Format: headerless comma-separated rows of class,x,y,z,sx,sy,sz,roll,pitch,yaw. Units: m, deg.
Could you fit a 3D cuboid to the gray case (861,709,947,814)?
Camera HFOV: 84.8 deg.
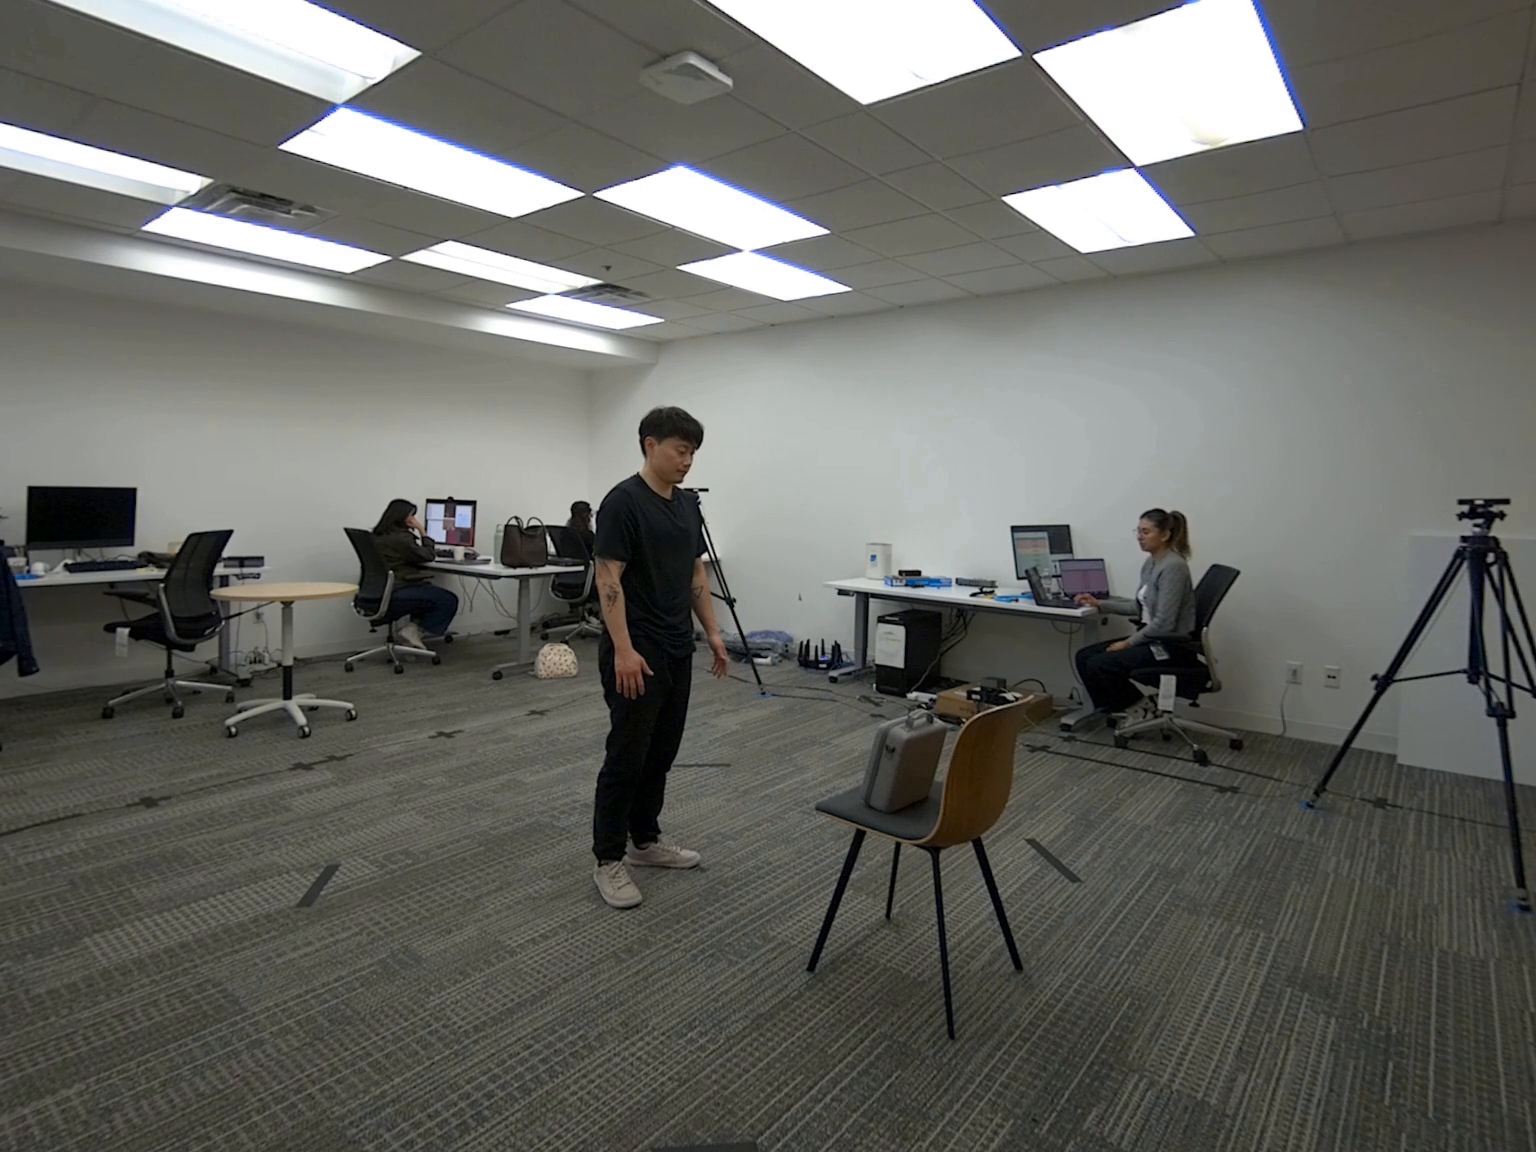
gray case,0.400,0.545,2.473,0.249,0.258,0.108,-2,18,-43
